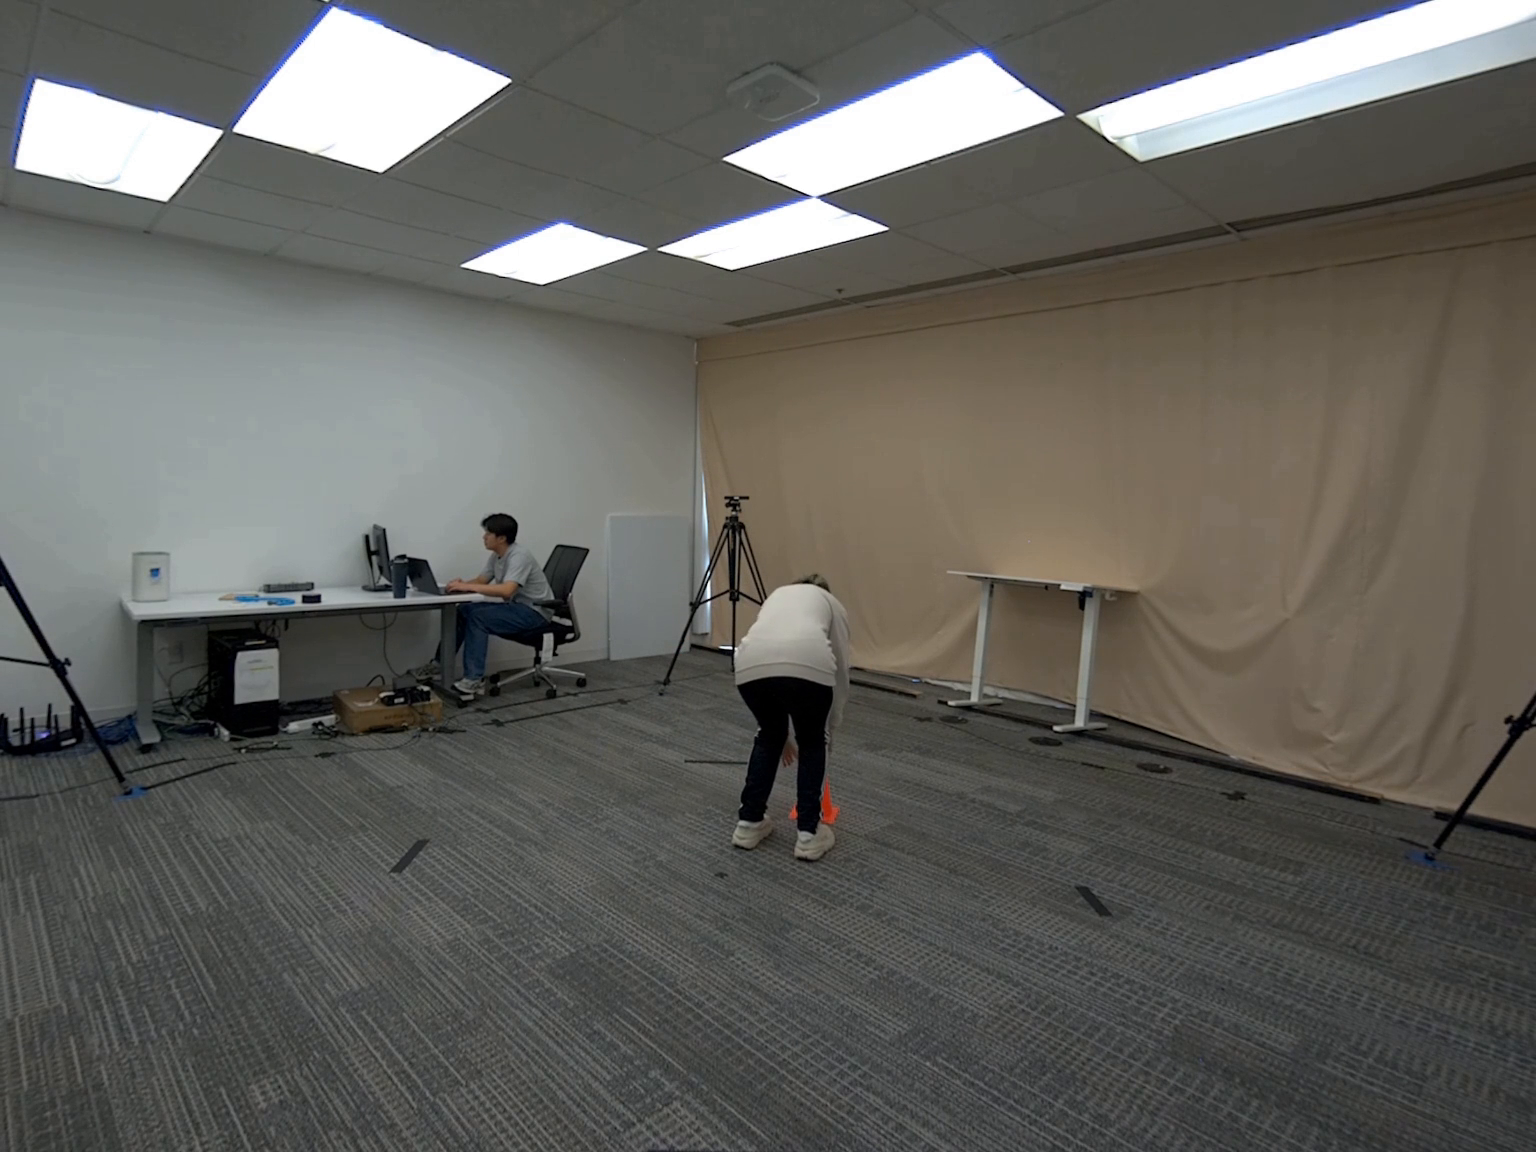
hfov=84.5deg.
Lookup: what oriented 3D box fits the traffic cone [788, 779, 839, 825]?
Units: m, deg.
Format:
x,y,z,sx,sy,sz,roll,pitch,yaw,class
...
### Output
x,y,z,sx,sy,sz,roll,pitch,yaw,class
0.195,0.871,3.749,0.205,0.383,0.203,1,3,11,traffic cone
